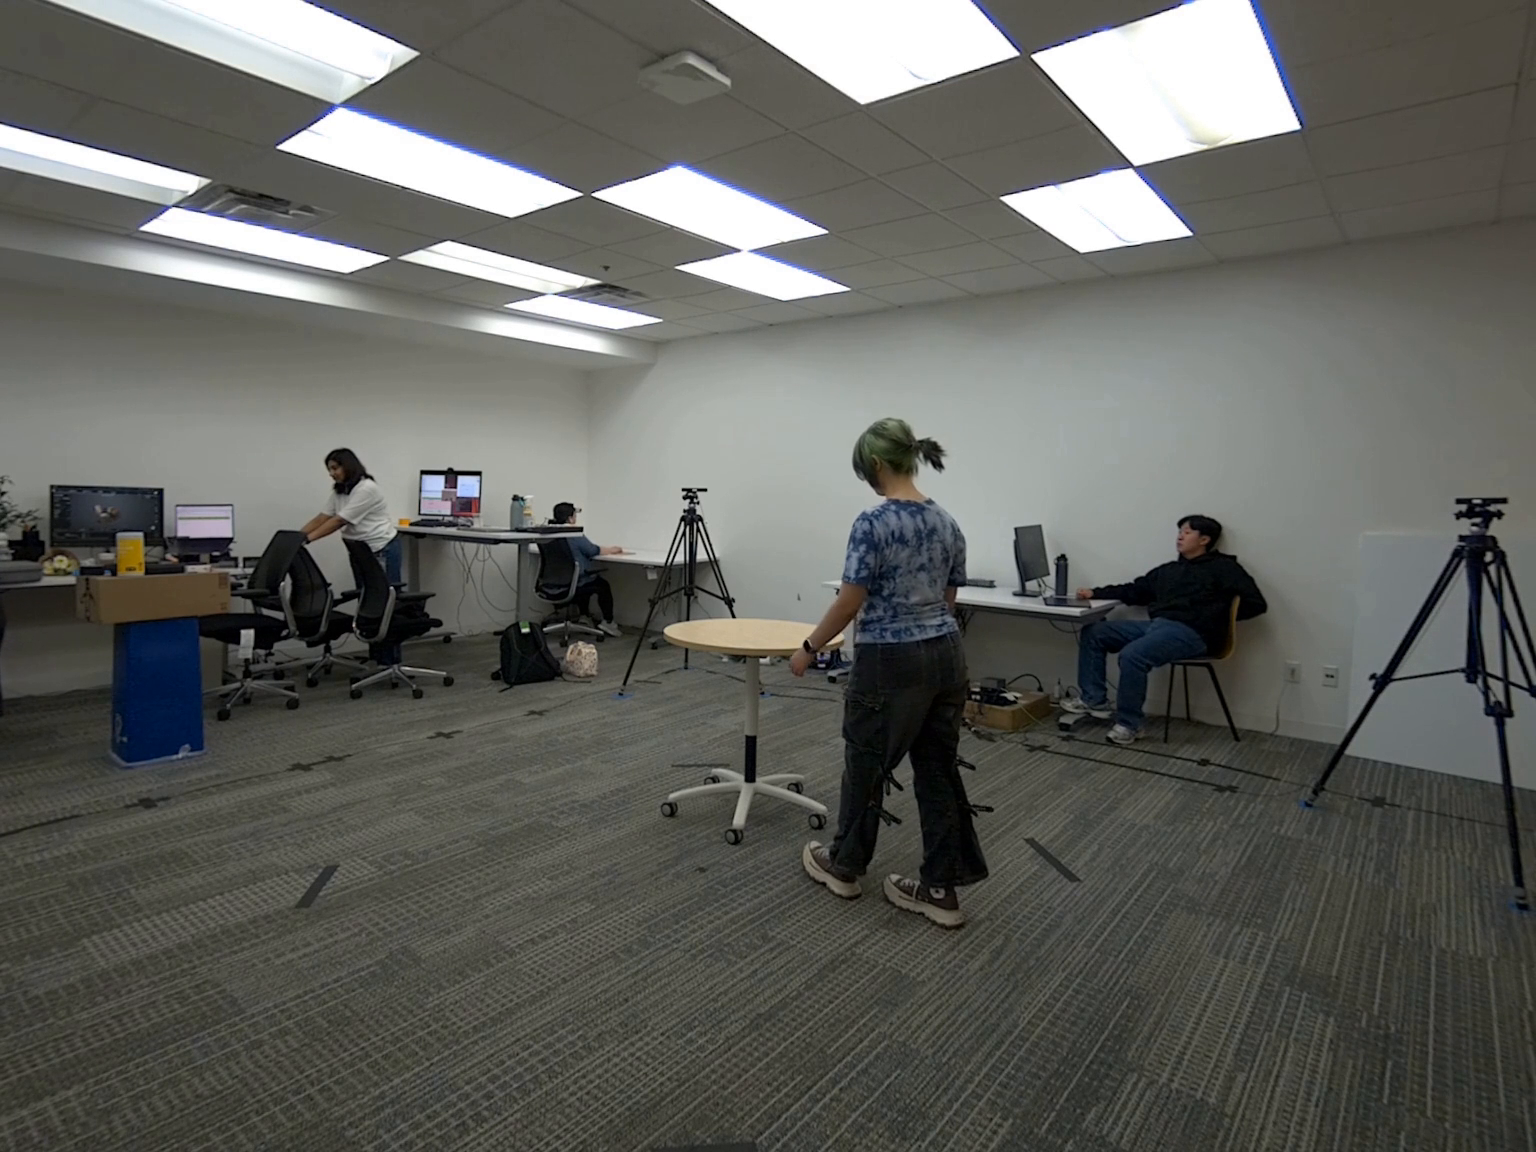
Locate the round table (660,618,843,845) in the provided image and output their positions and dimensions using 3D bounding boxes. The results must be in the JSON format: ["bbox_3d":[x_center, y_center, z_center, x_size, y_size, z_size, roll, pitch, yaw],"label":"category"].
[{"bbox_3d":[-0.081,0.633,3.648,0.763,0.791,0.768,1,4,-2],"label":"round table"}]
